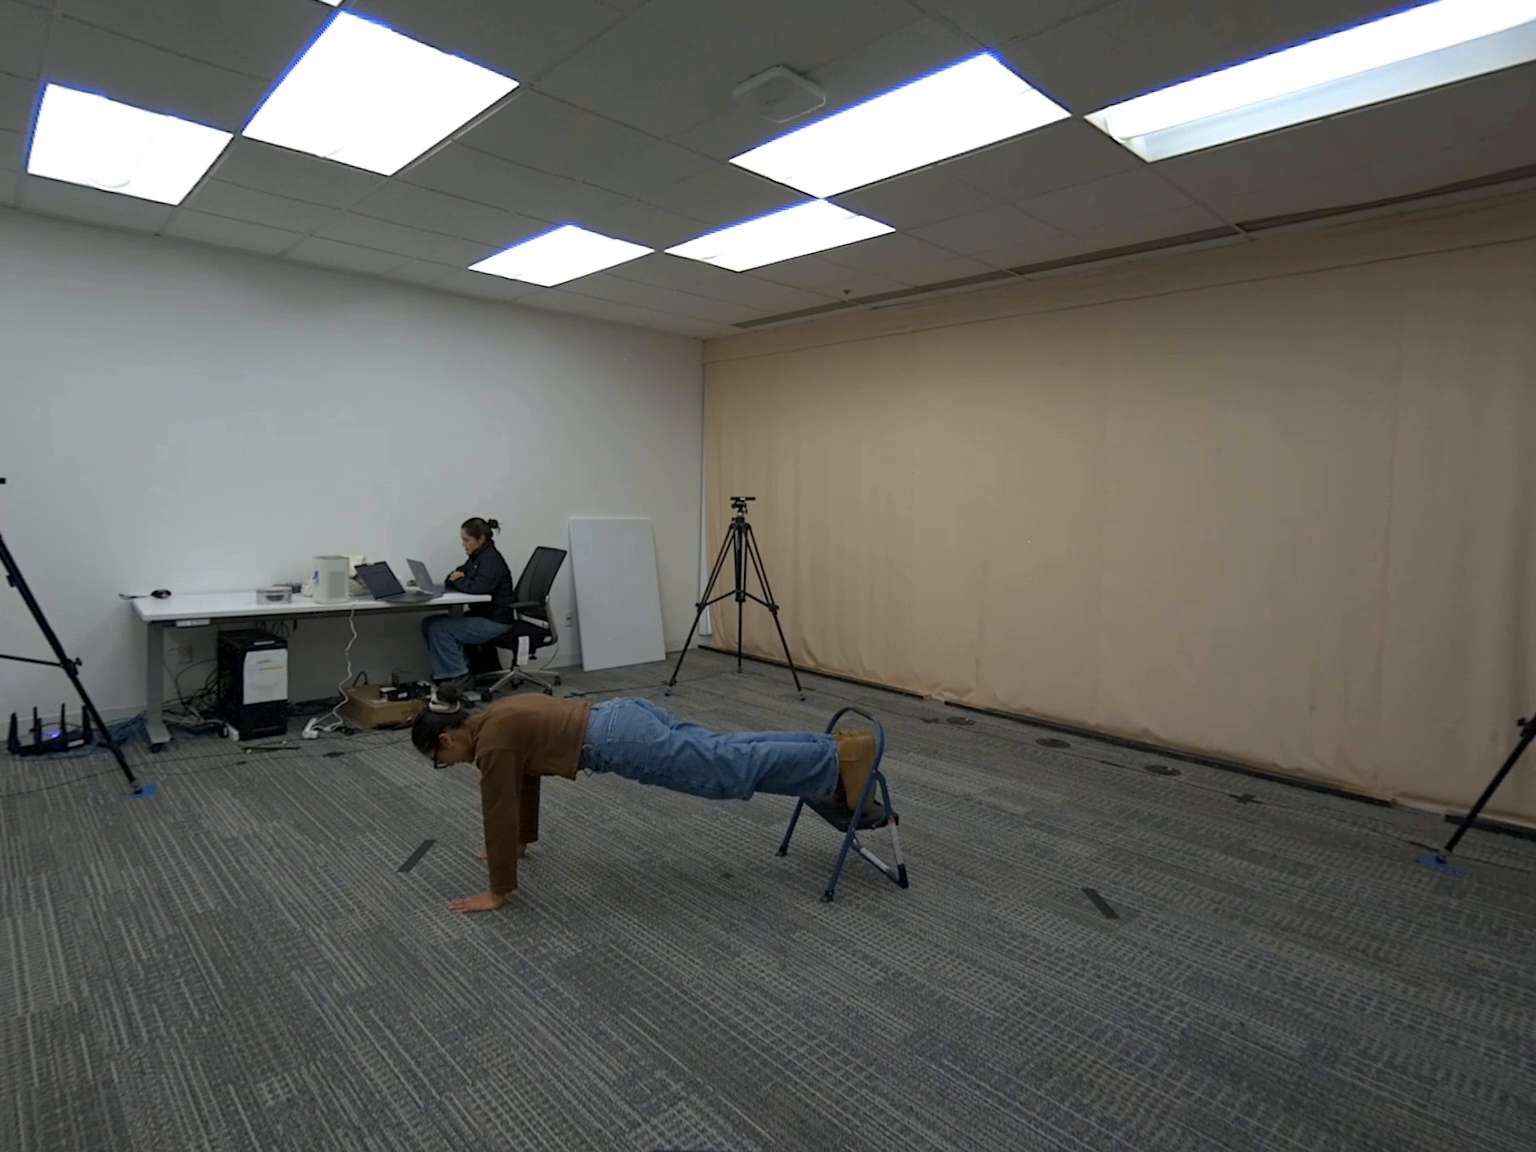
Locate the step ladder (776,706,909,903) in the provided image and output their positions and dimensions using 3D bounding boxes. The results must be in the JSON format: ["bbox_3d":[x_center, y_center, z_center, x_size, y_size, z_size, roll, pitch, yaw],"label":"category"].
[{"bbox_3d":[0.274,0.811,3.155,0.343,0.605,0.439,0,4,-23],"label":"step ladder"}]
